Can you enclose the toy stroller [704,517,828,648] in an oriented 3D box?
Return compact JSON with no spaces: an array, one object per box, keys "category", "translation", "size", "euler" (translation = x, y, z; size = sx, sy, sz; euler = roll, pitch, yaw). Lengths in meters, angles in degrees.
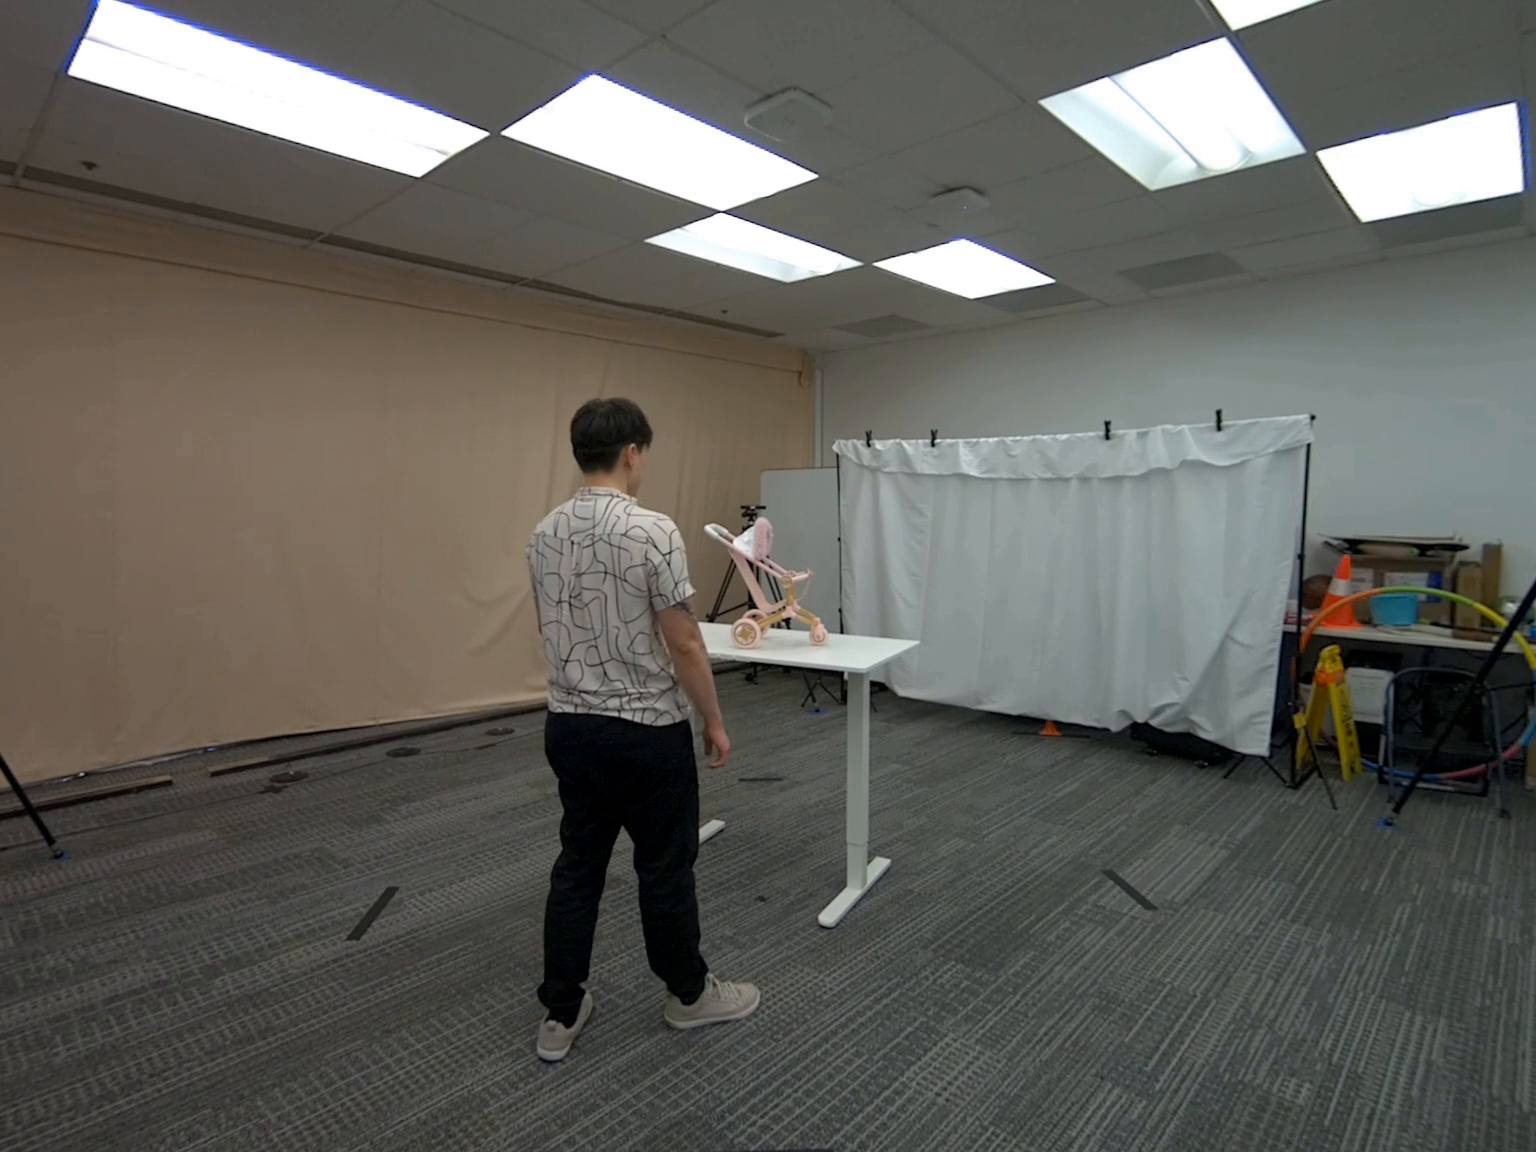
[{"category":"toy stroller","translation":[0.006,0.028,3.101],"size":[0.346,0.535,0.277],"euler":[-14,0,15]}]
